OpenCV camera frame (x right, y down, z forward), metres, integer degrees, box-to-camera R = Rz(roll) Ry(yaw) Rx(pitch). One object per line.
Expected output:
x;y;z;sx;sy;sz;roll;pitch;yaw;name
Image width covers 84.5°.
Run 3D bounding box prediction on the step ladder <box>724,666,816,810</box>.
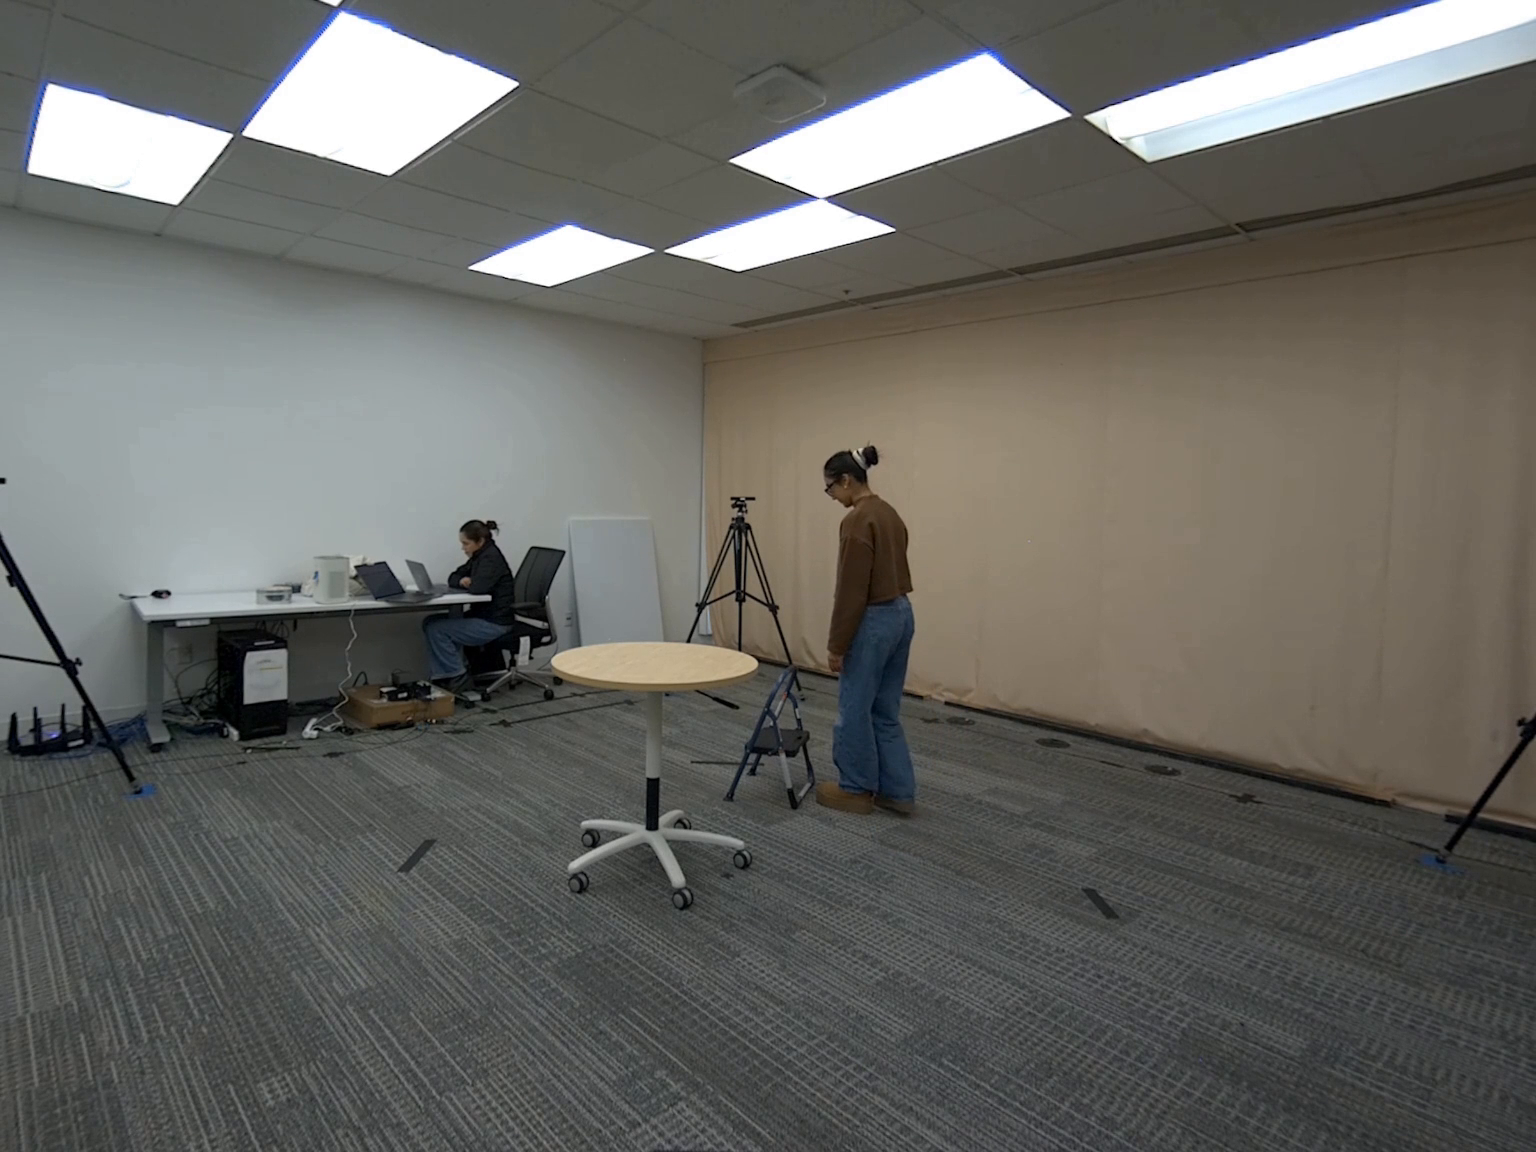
0.018;0.728;4.023;0.354;0.605;0.426;2;4;16;step ladder
